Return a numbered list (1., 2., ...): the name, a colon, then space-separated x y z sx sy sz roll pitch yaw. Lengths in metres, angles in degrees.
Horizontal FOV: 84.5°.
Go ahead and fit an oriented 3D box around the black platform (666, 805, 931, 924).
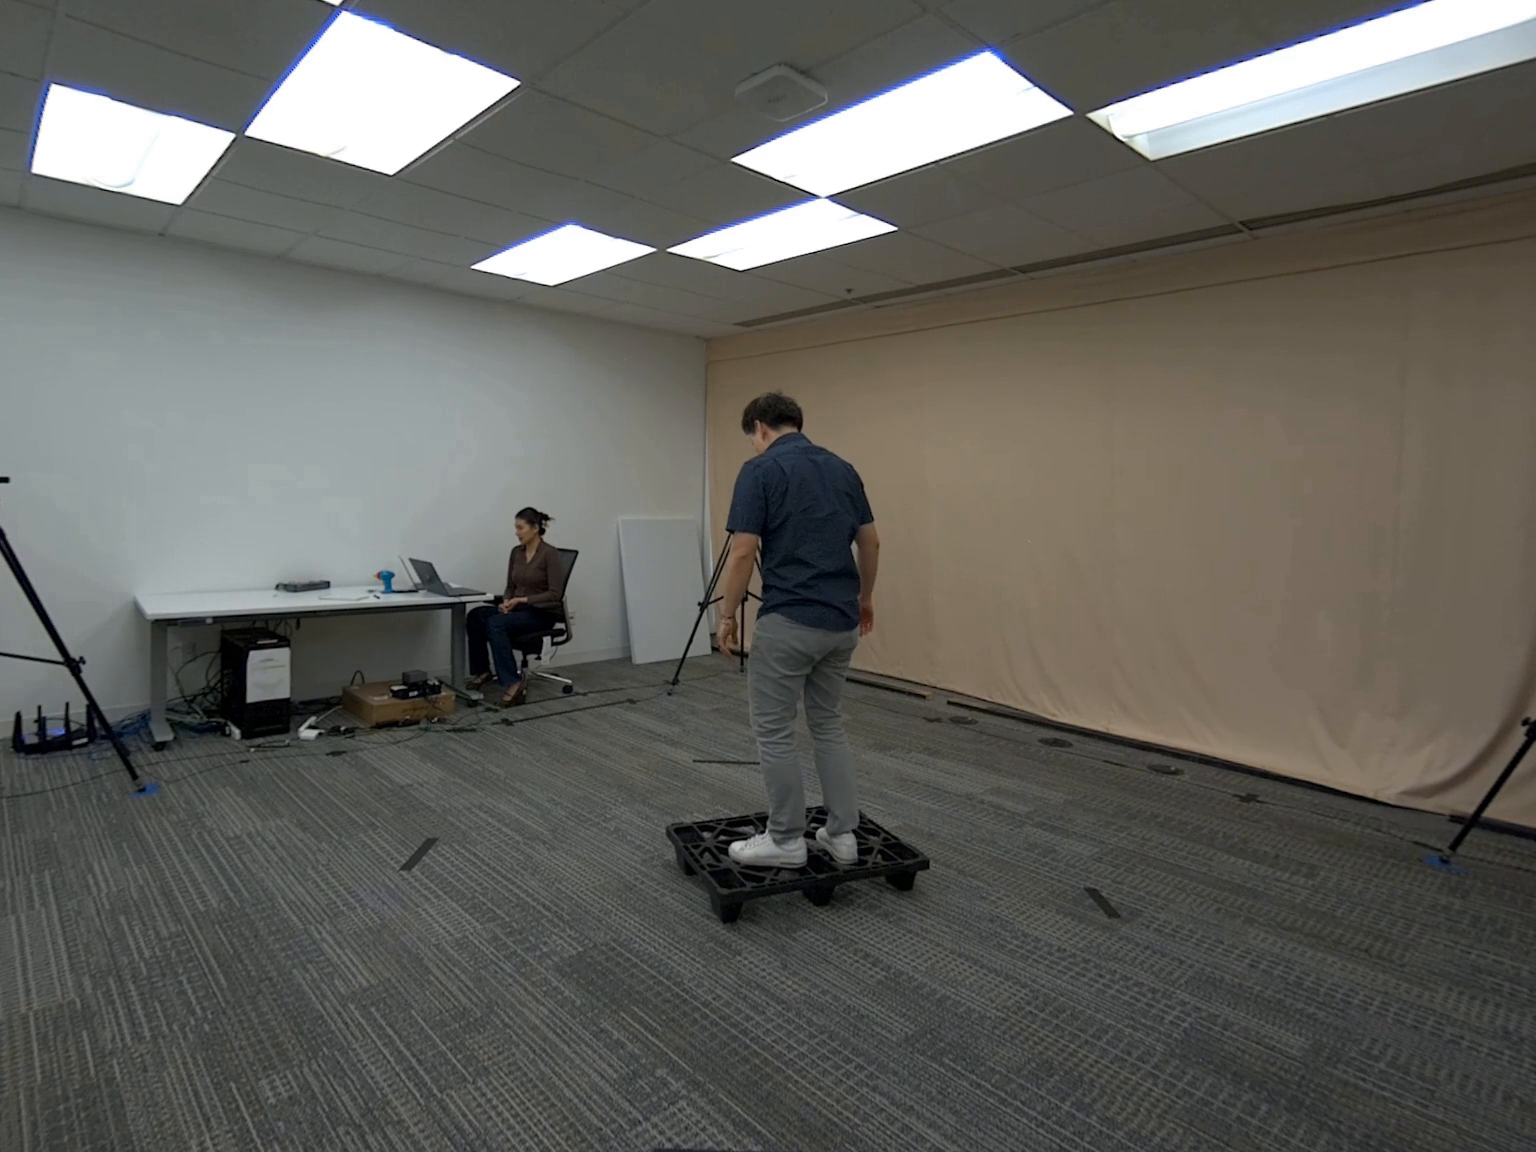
1. black platform: 0.088 1.042 3.091 0.792 0.143 0.617 -1 6 -23
